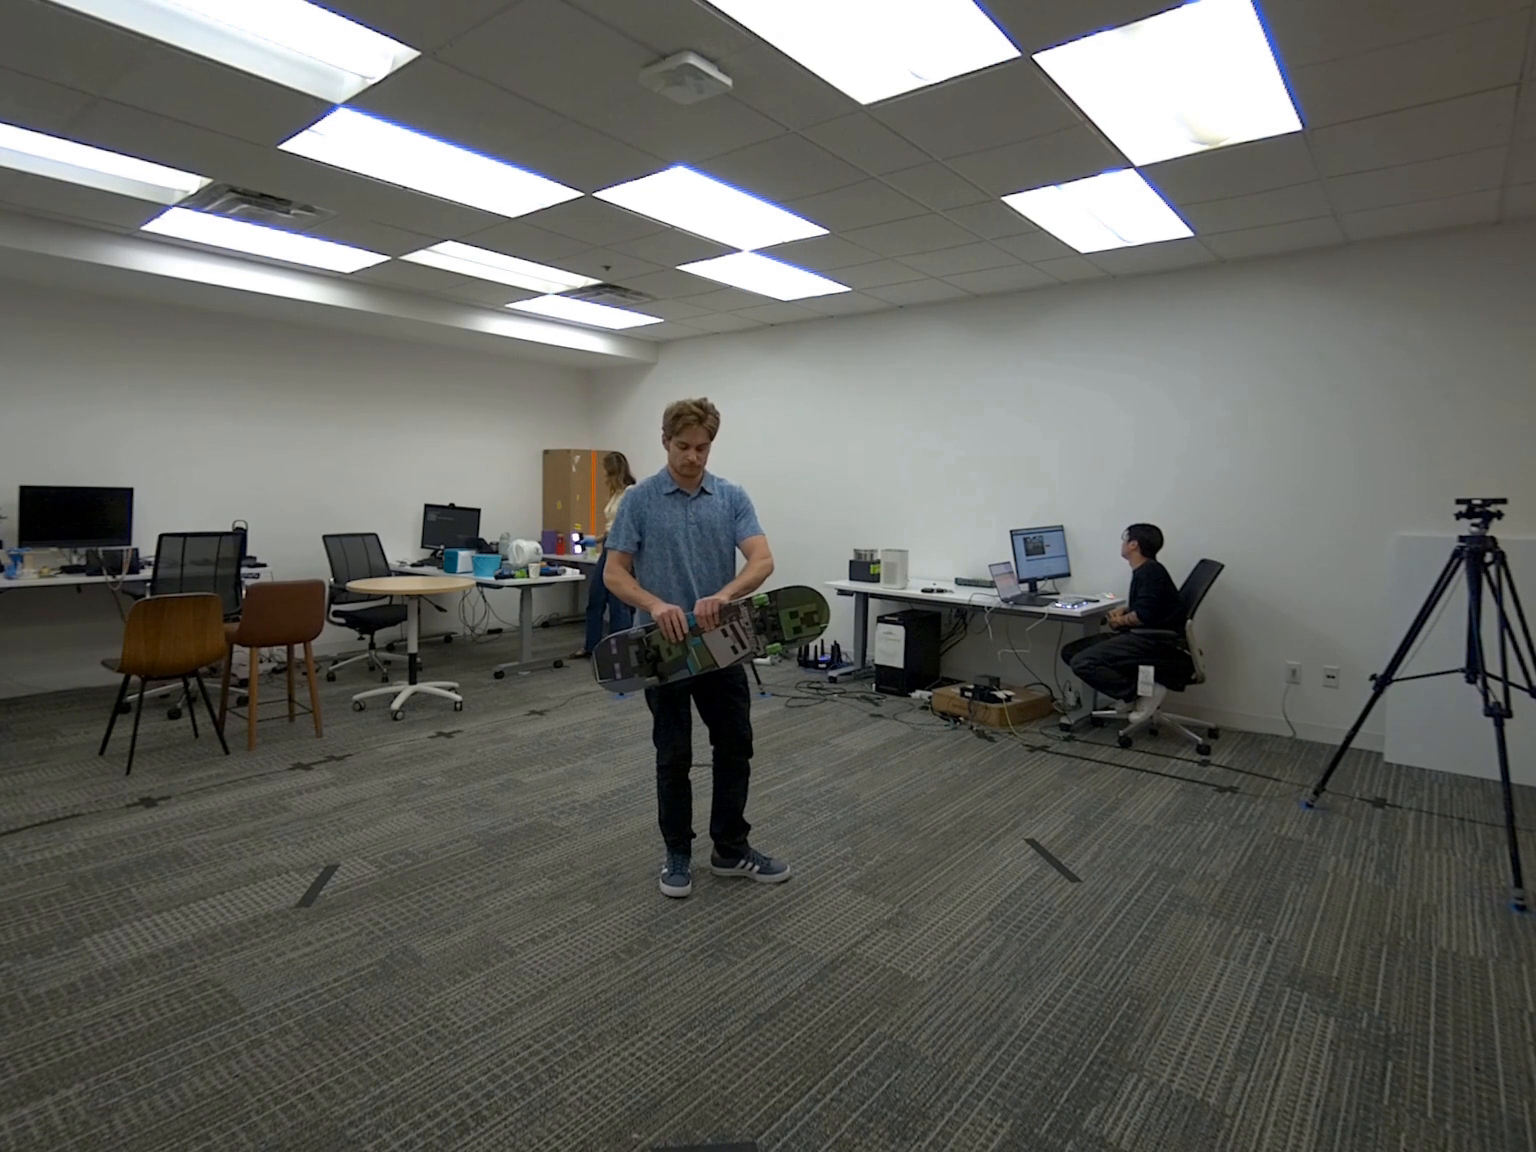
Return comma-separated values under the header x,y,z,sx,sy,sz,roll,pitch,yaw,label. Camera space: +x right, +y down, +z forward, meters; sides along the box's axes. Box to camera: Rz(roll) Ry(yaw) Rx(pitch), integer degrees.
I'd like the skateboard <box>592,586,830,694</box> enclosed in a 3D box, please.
x,y,z,sx,sy,sz,roll,pitch,yaw,label
-0.185,0.195,2.656,0.789,0.195,0.109,-16,-4,6,skateboard
